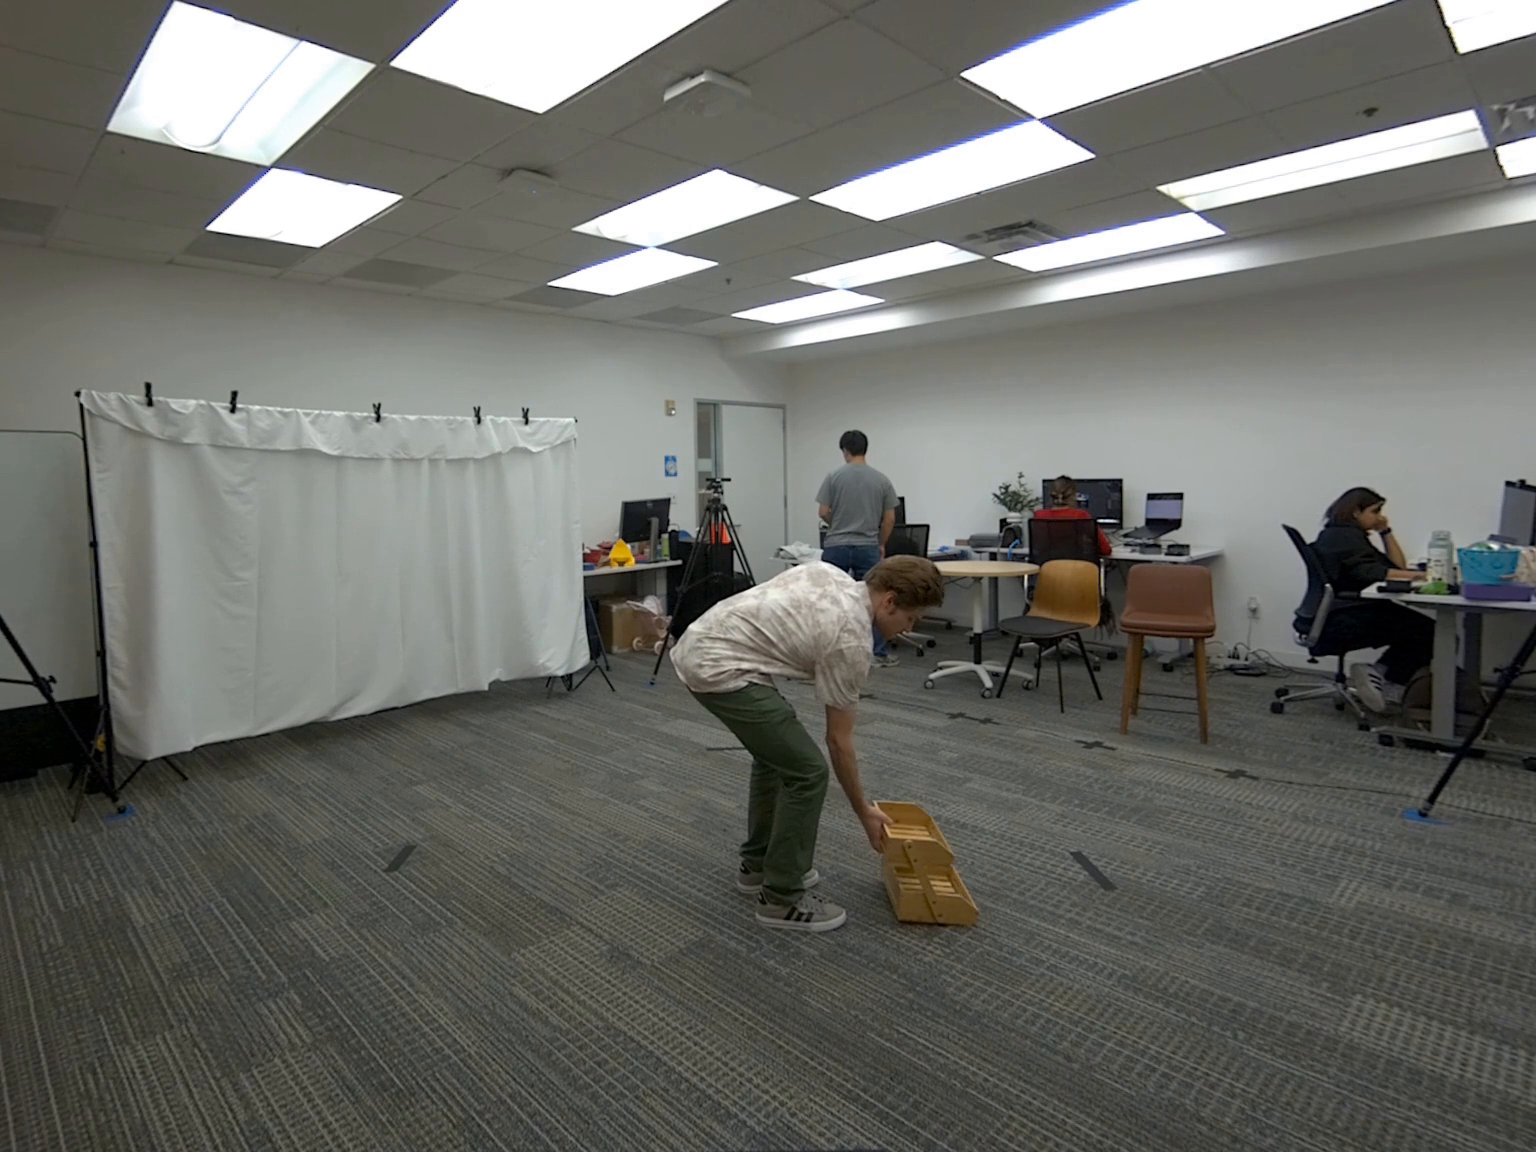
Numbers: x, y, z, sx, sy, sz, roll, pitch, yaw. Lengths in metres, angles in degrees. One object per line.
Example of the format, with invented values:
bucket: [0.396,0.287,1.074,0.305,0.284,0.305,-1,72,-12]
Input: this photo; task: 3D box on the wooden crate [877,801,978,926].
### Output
wooden crate: [0.514,0.922,2.783,0.302,0.272,0.326,4,5,-2]
